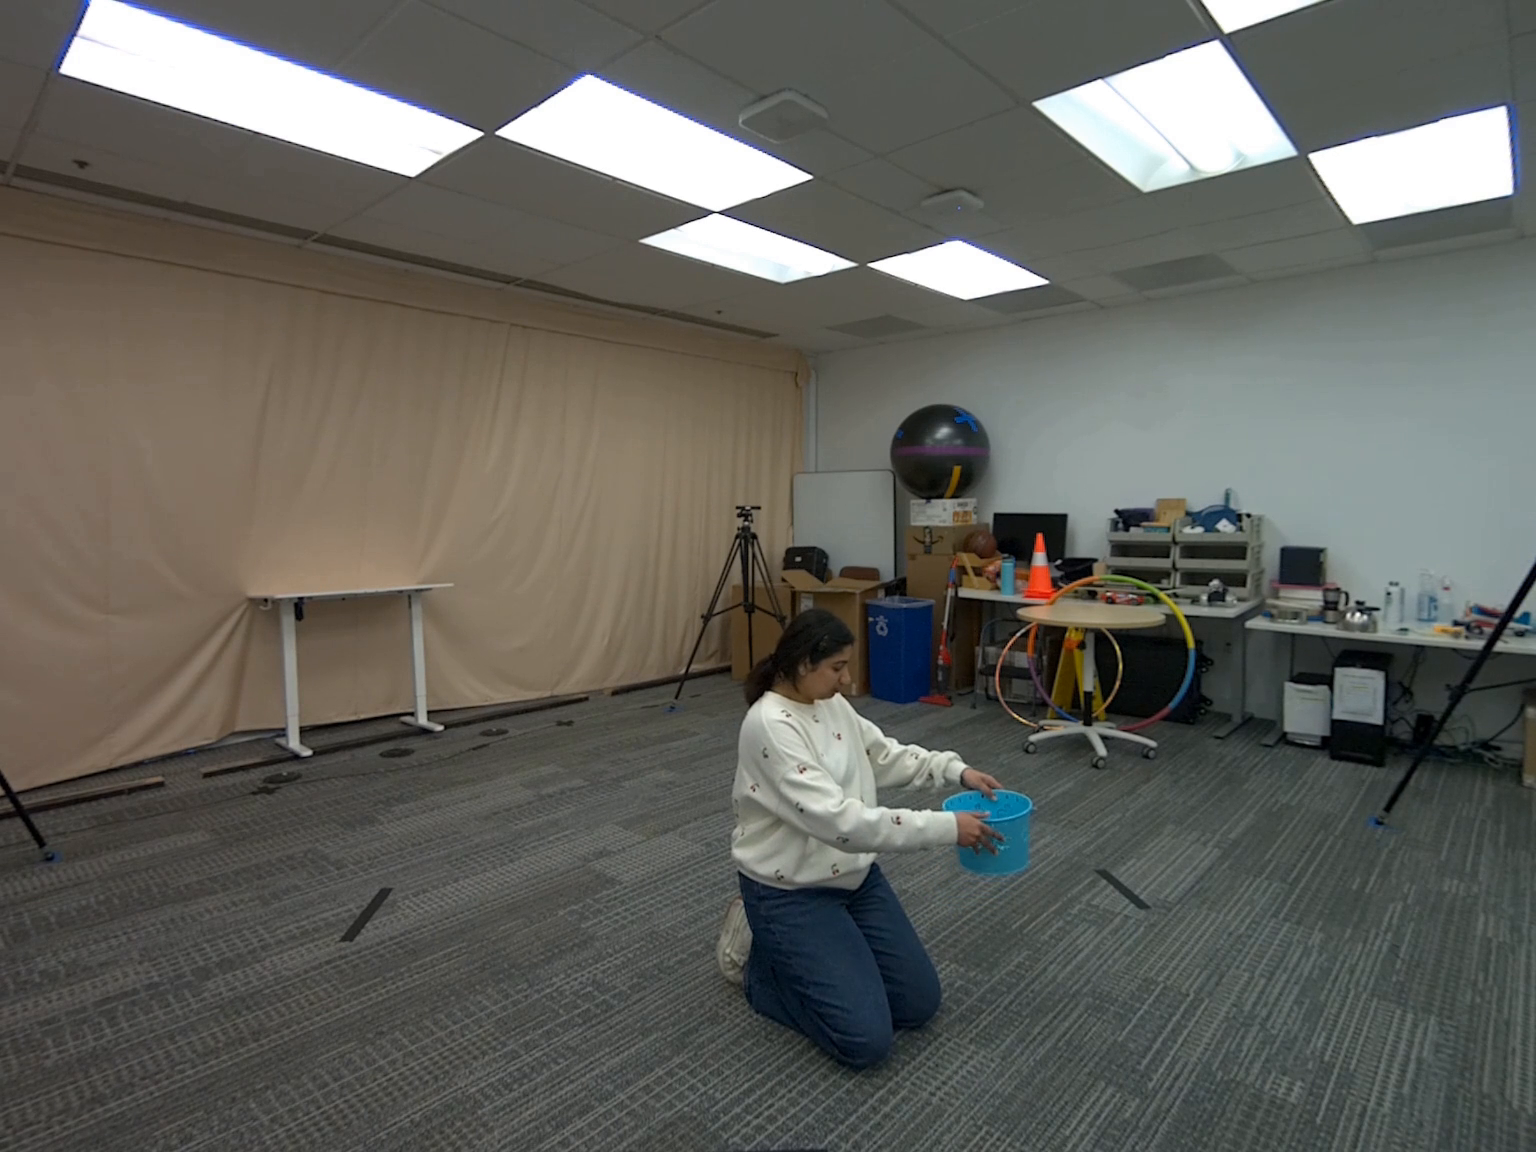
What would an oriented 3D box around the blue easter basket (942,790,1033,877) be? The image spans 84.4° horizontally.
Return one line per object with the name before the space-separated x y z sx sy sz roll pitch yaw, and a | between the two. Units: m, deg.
blue easter basket | 0.591 0.683 2.219 0.243 0.155 0.244 -6 3 -2
